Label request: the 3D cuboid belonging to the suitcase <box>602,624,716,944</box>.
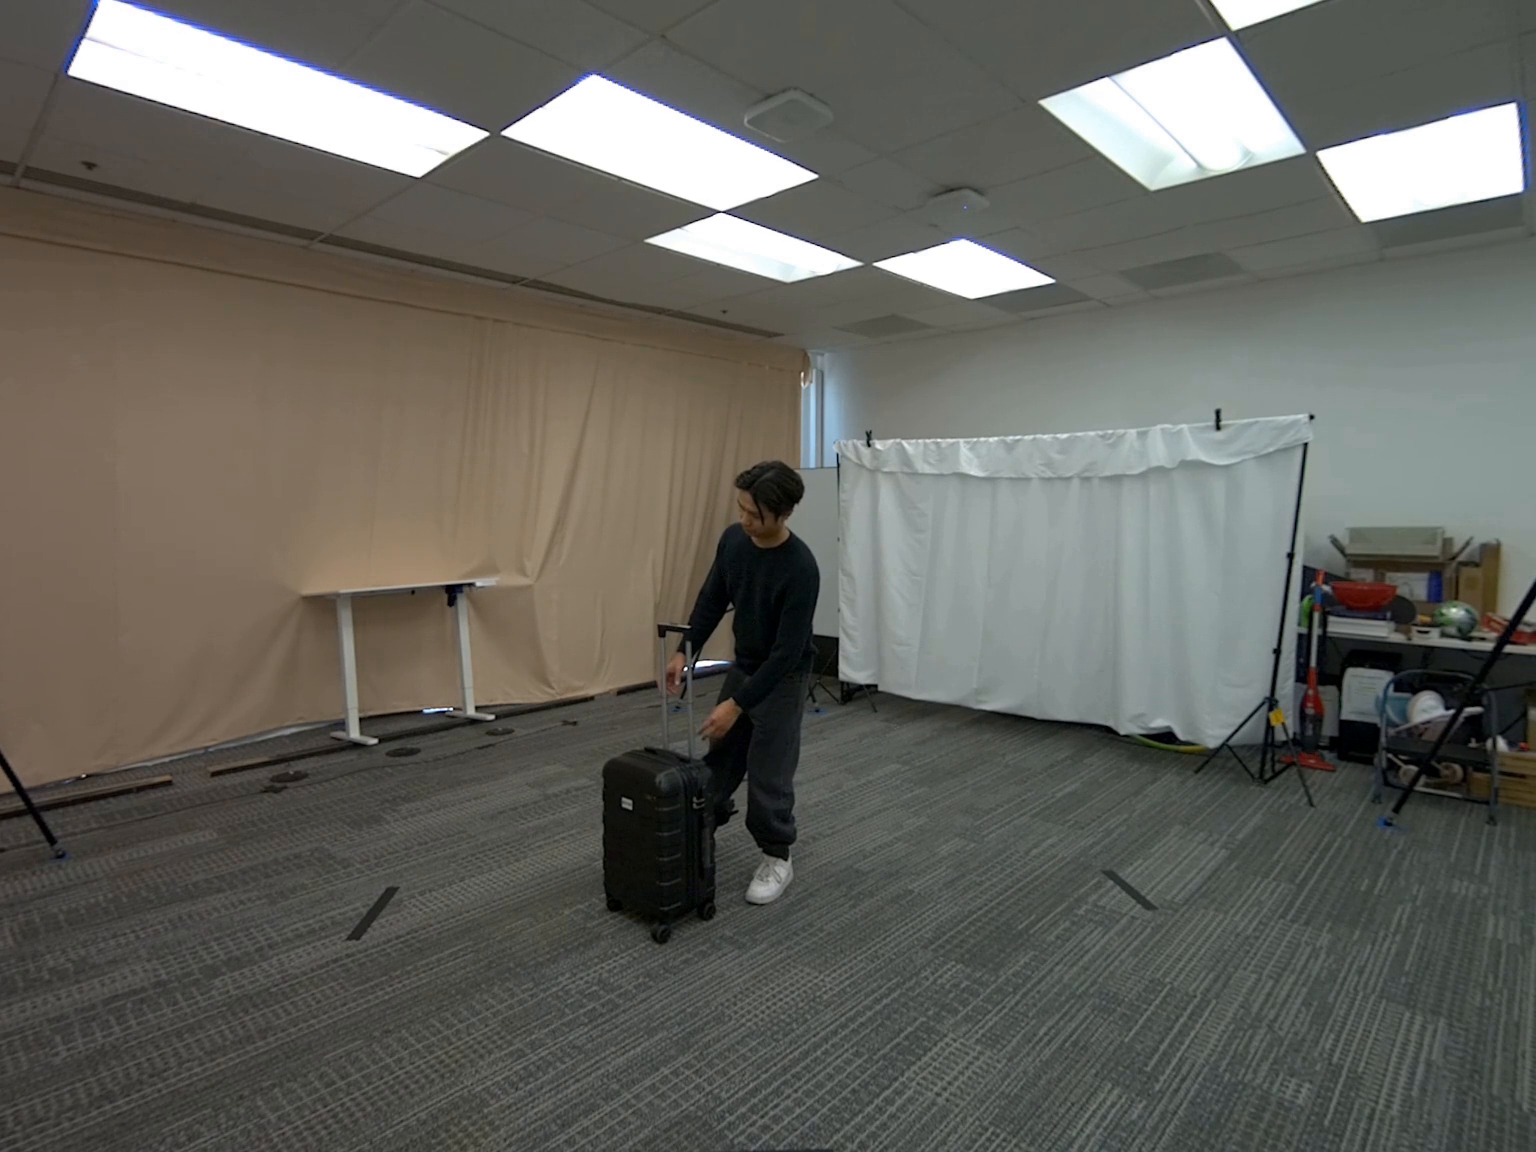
[{"bbox_3d":[-0.381,0.679,2.856,0.396,0.976,0.249,1,5,41],"label":"suitcase"}]
